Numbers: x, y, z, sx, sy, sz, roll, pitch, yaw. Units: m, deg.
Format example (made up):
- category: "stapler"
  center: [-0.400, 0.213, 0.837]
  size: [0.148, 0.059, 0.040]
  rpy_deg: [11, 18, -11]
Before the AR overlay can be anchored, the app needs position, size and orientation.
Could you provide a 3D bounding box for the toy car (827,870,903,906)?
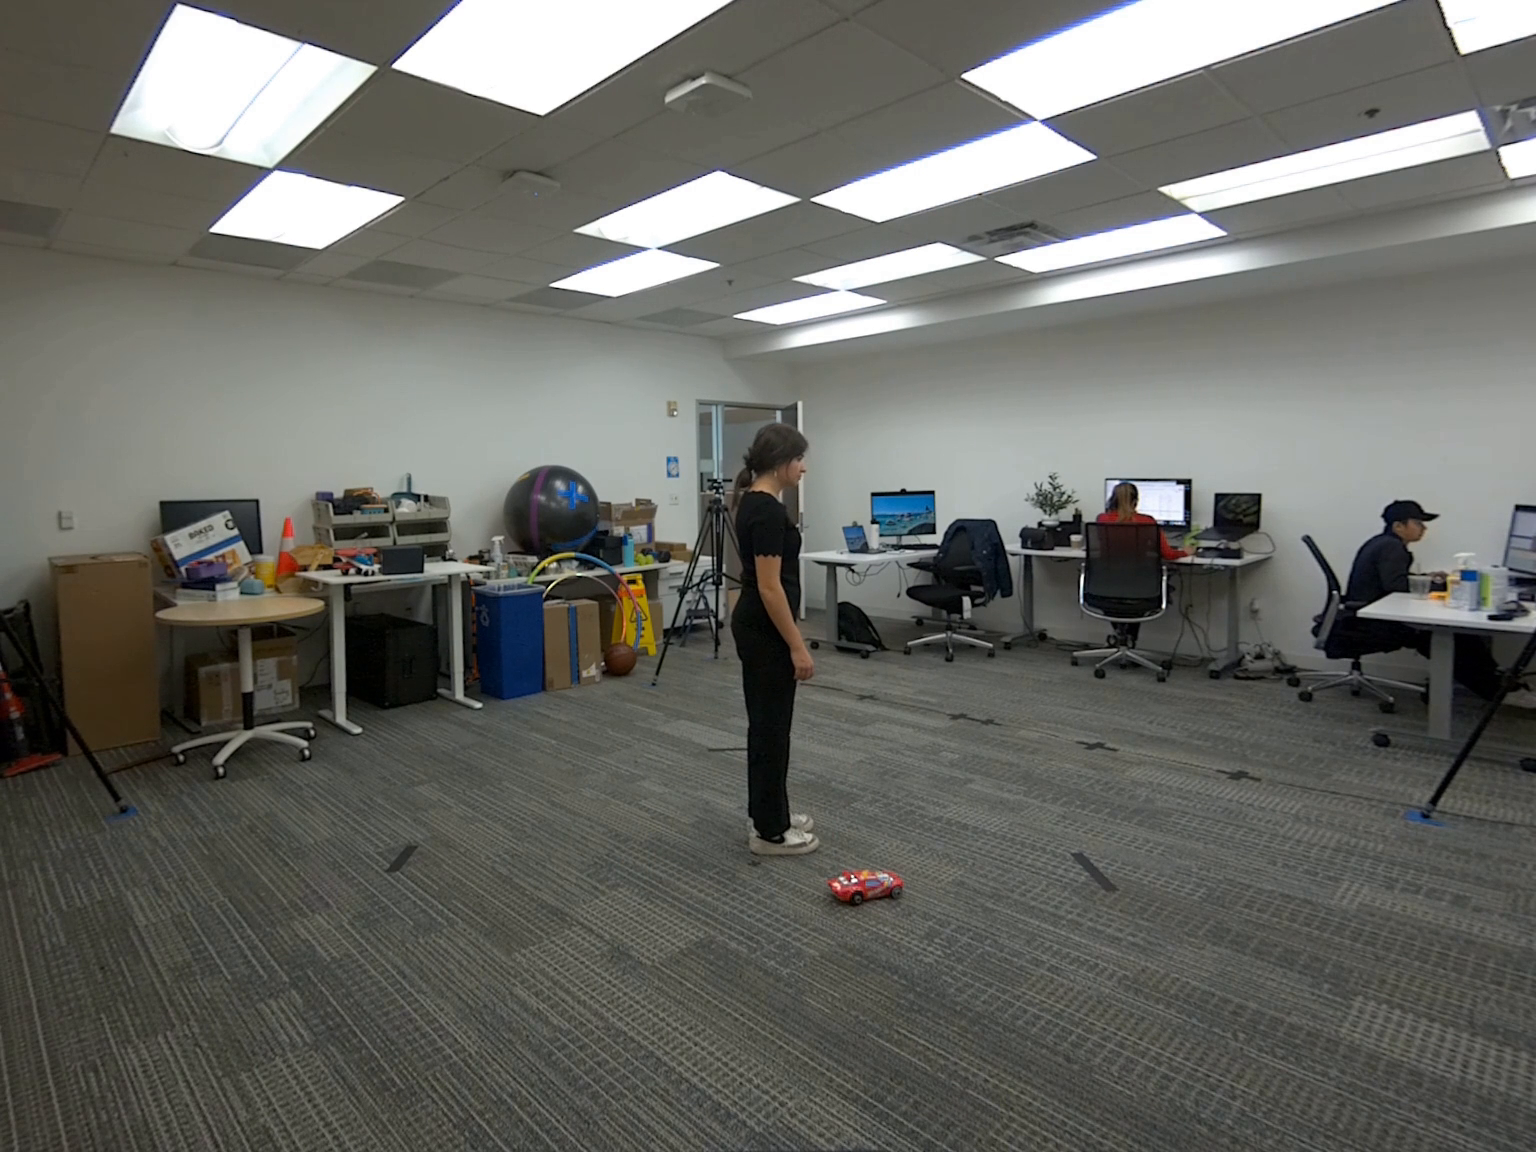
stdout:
- category: "toy car"
  center: [0.324, 1.037, 2.846]
  size: [0.250, 0.083, 0.133]
  rpy_deg: [8, 3, -18]
